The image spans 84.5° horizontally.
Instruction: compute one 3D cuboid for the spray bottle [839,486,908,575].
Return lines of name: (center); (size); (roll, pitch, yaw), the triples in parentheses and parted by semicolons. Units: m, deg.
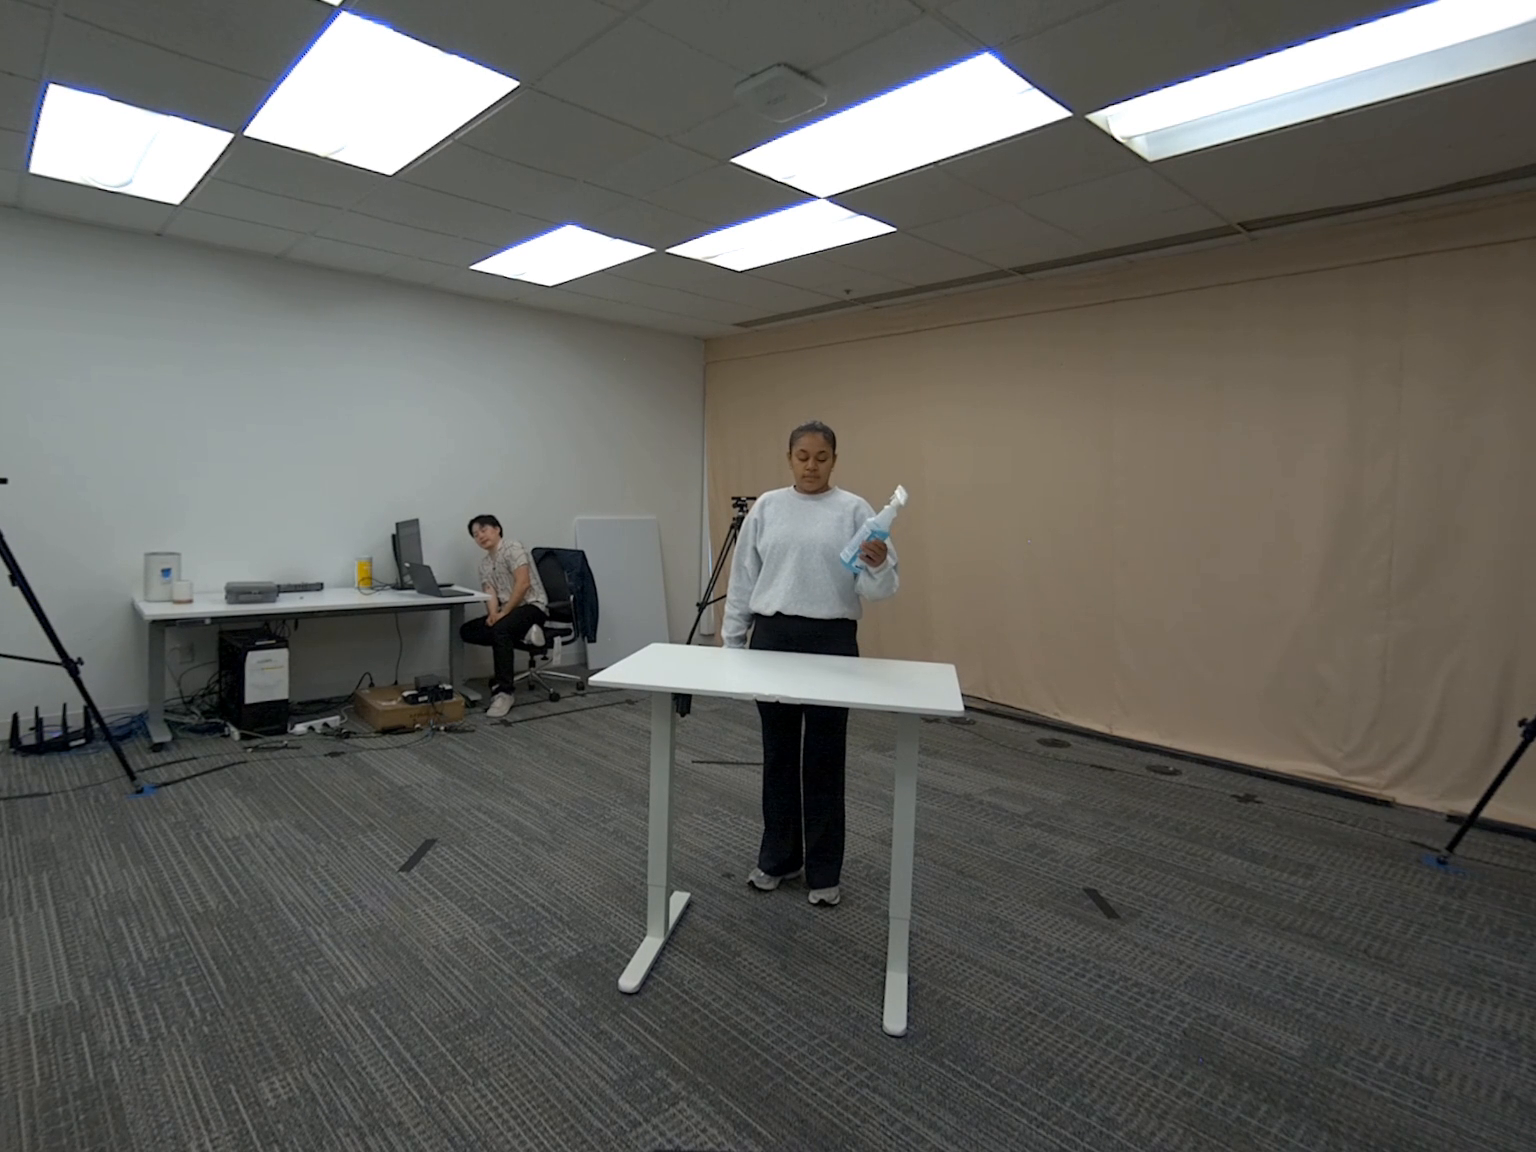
spray bottle: (0.327, -0.140, 2.608); (0.087, 0.296, 0.090); (37, 19, 4)
